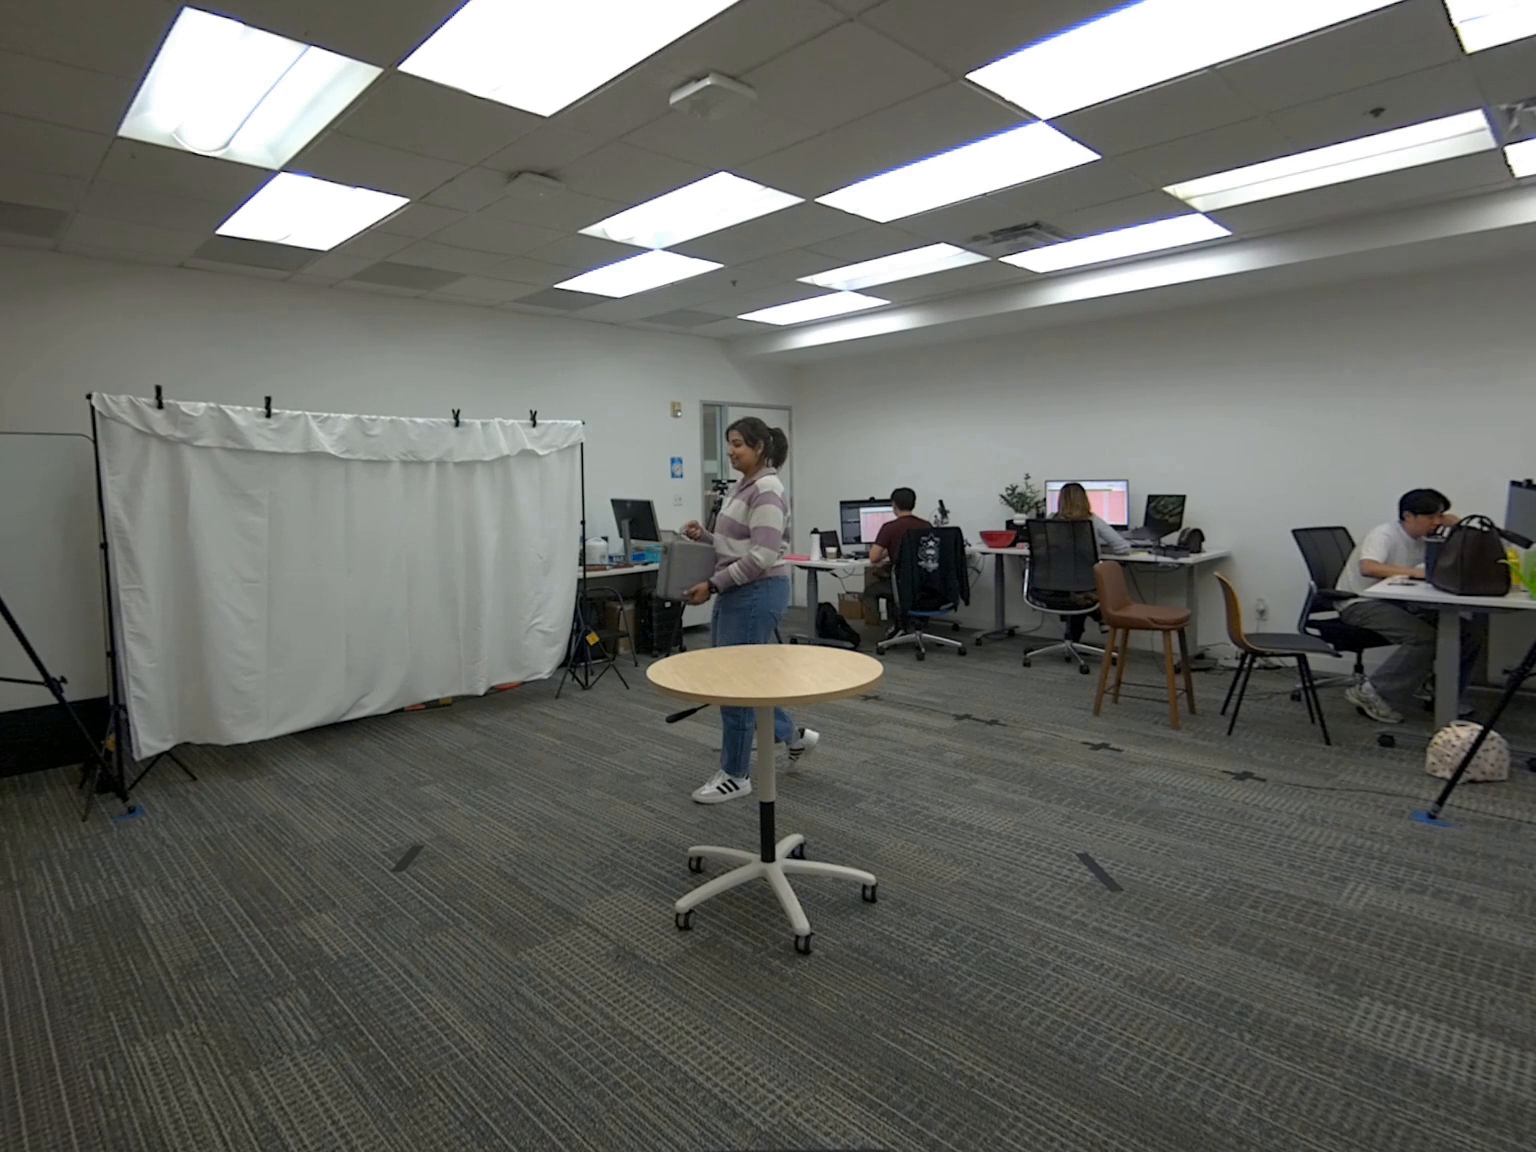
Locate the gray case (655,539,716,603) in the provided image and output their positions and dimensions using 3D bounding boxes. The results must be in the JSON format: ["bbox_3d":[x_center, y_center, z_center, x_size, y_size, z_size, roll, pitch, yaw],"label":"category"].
[{"bbox_3d":[-0.345,-0.024,3.648,0.107,0.261,0.248,5,-2,43],"label":"gray case"}]
